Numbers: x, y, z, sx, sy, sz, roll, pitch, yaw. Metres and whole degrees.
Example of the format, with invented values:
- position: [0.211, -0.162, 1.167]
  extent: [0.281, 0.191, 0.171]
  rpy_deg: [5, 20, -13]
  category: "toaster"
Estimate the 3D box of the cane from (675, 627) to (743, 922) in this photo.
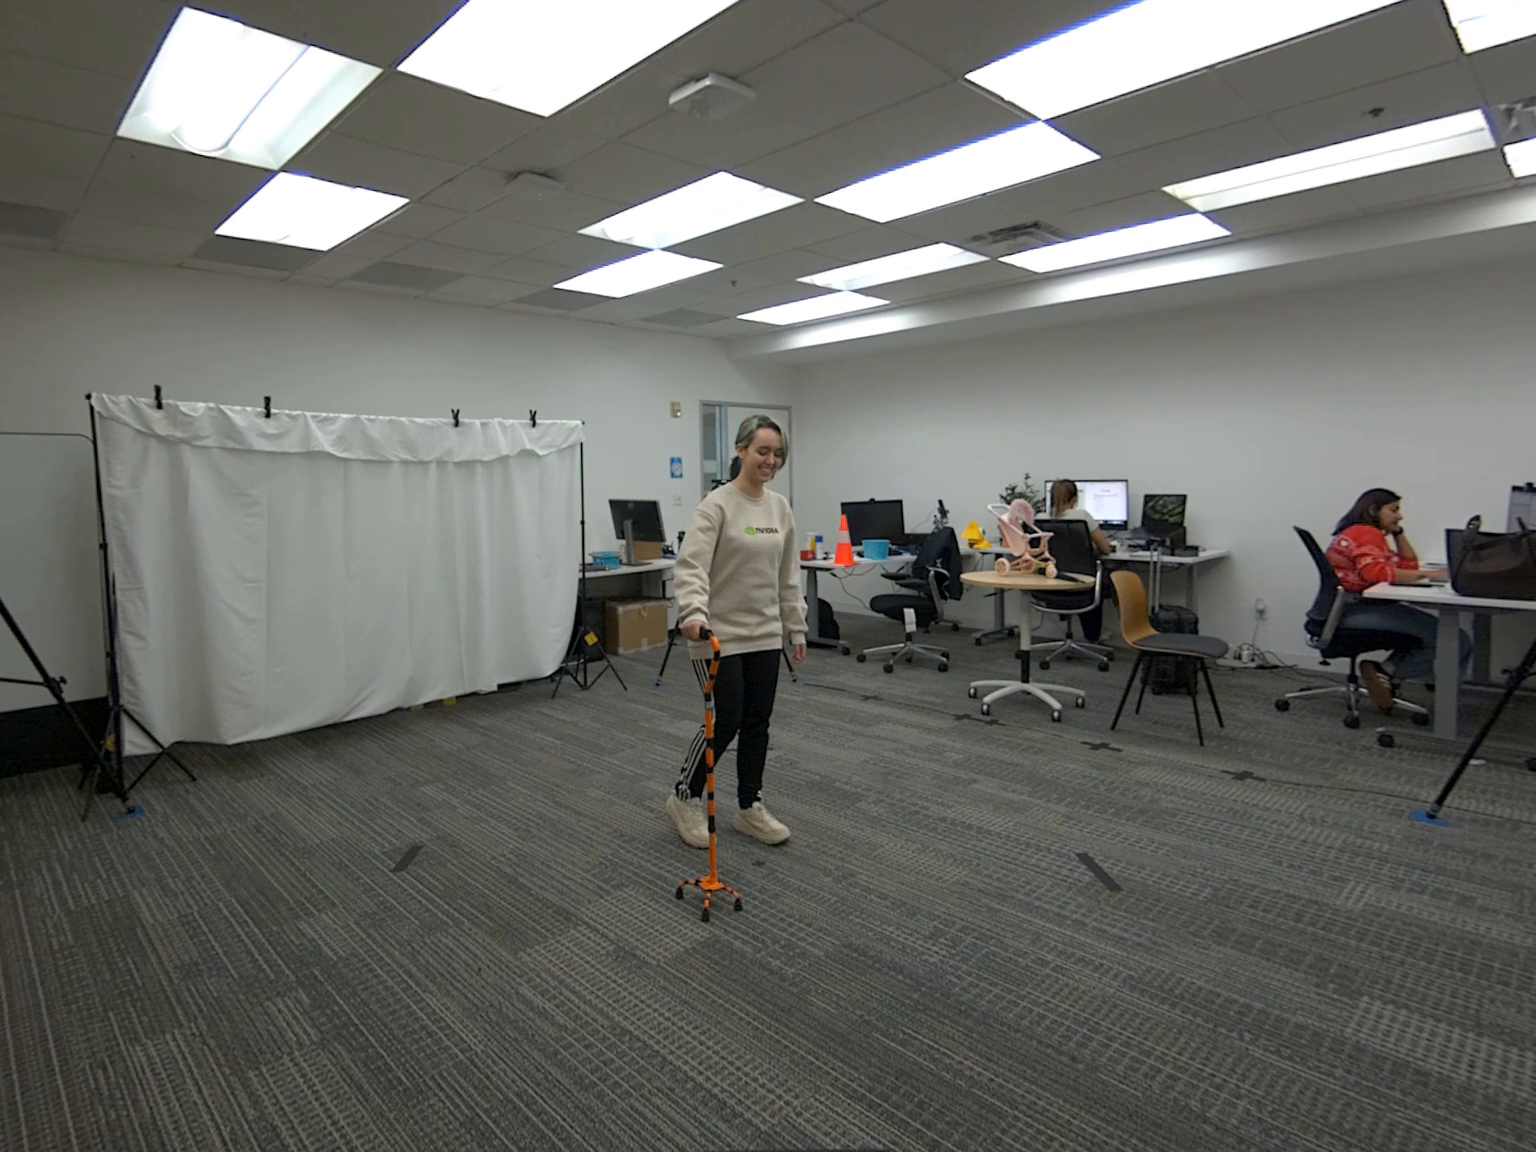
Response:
- position: [-0.207, 0.633, 2.794]
  extent: [0.148, 0.904, 0.212]
  rpy_deg: [-5, 6, -34]
  category: "cane"
